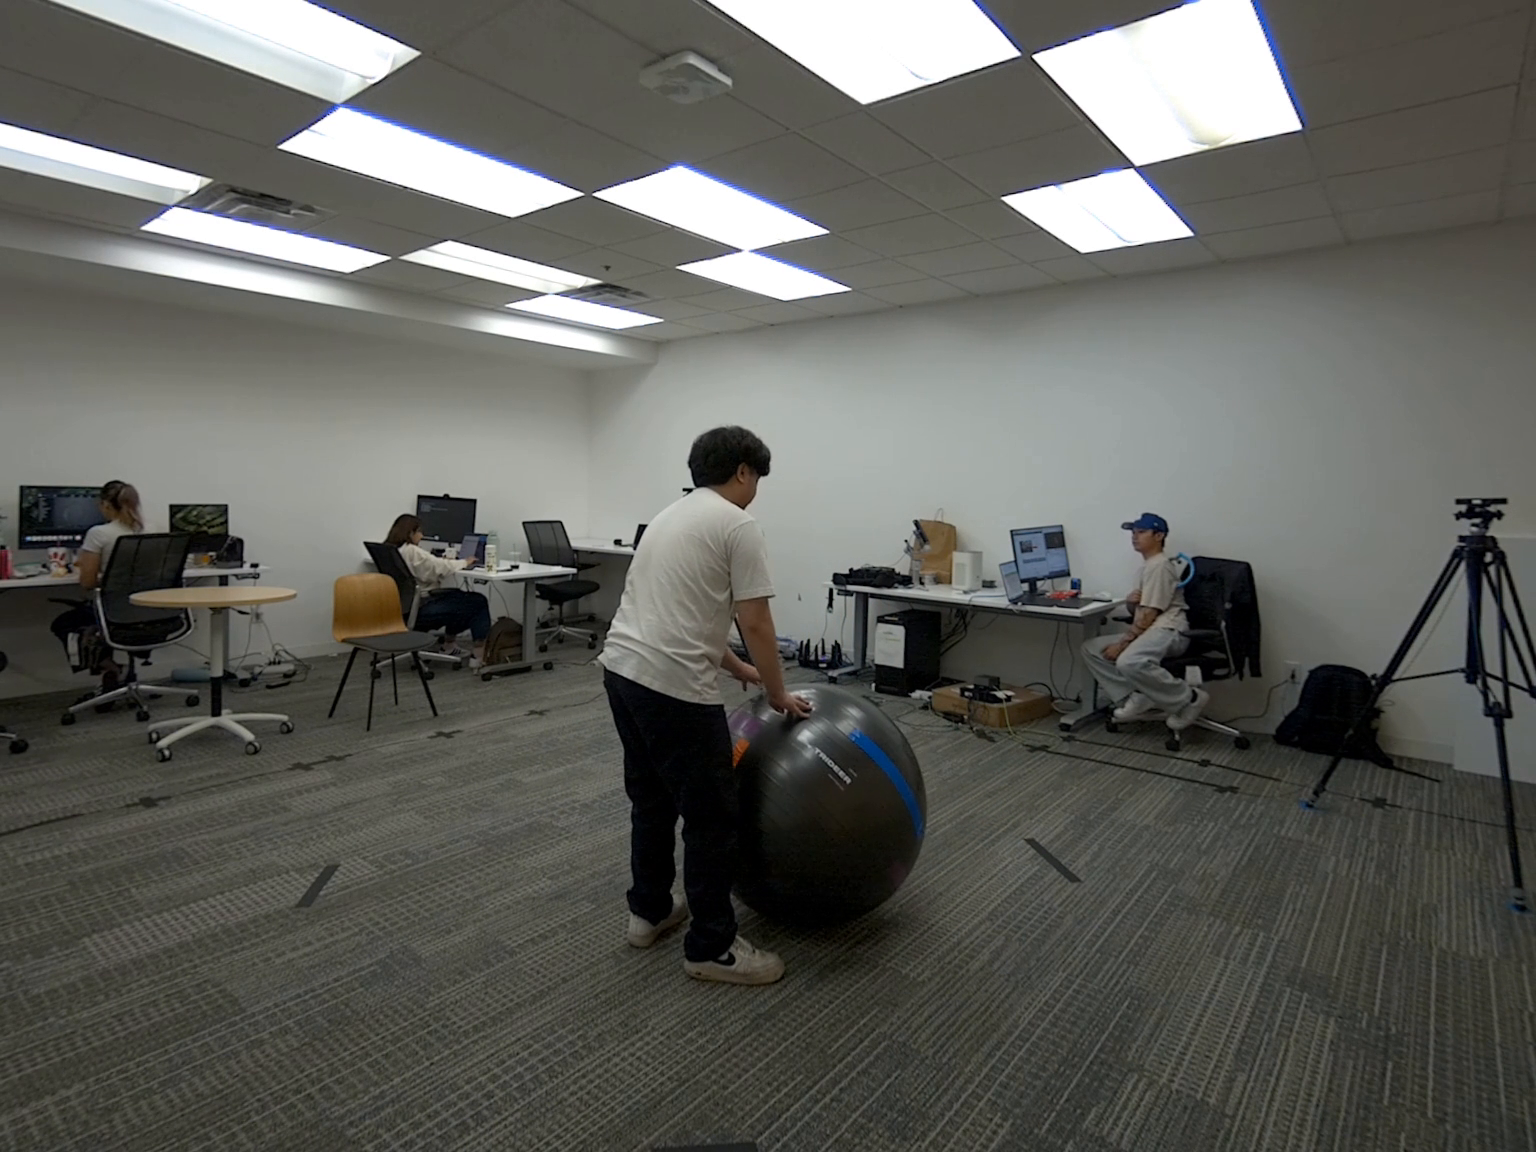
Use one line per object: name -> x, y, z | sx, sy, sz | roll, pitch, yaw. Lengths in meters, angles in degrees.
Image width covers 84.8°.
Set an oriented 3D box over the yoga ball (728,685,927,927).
yoga ball -> 0.136, 0.744, 2.807 | 0.757, 0.755, 0.762 | 1, 4, -2
